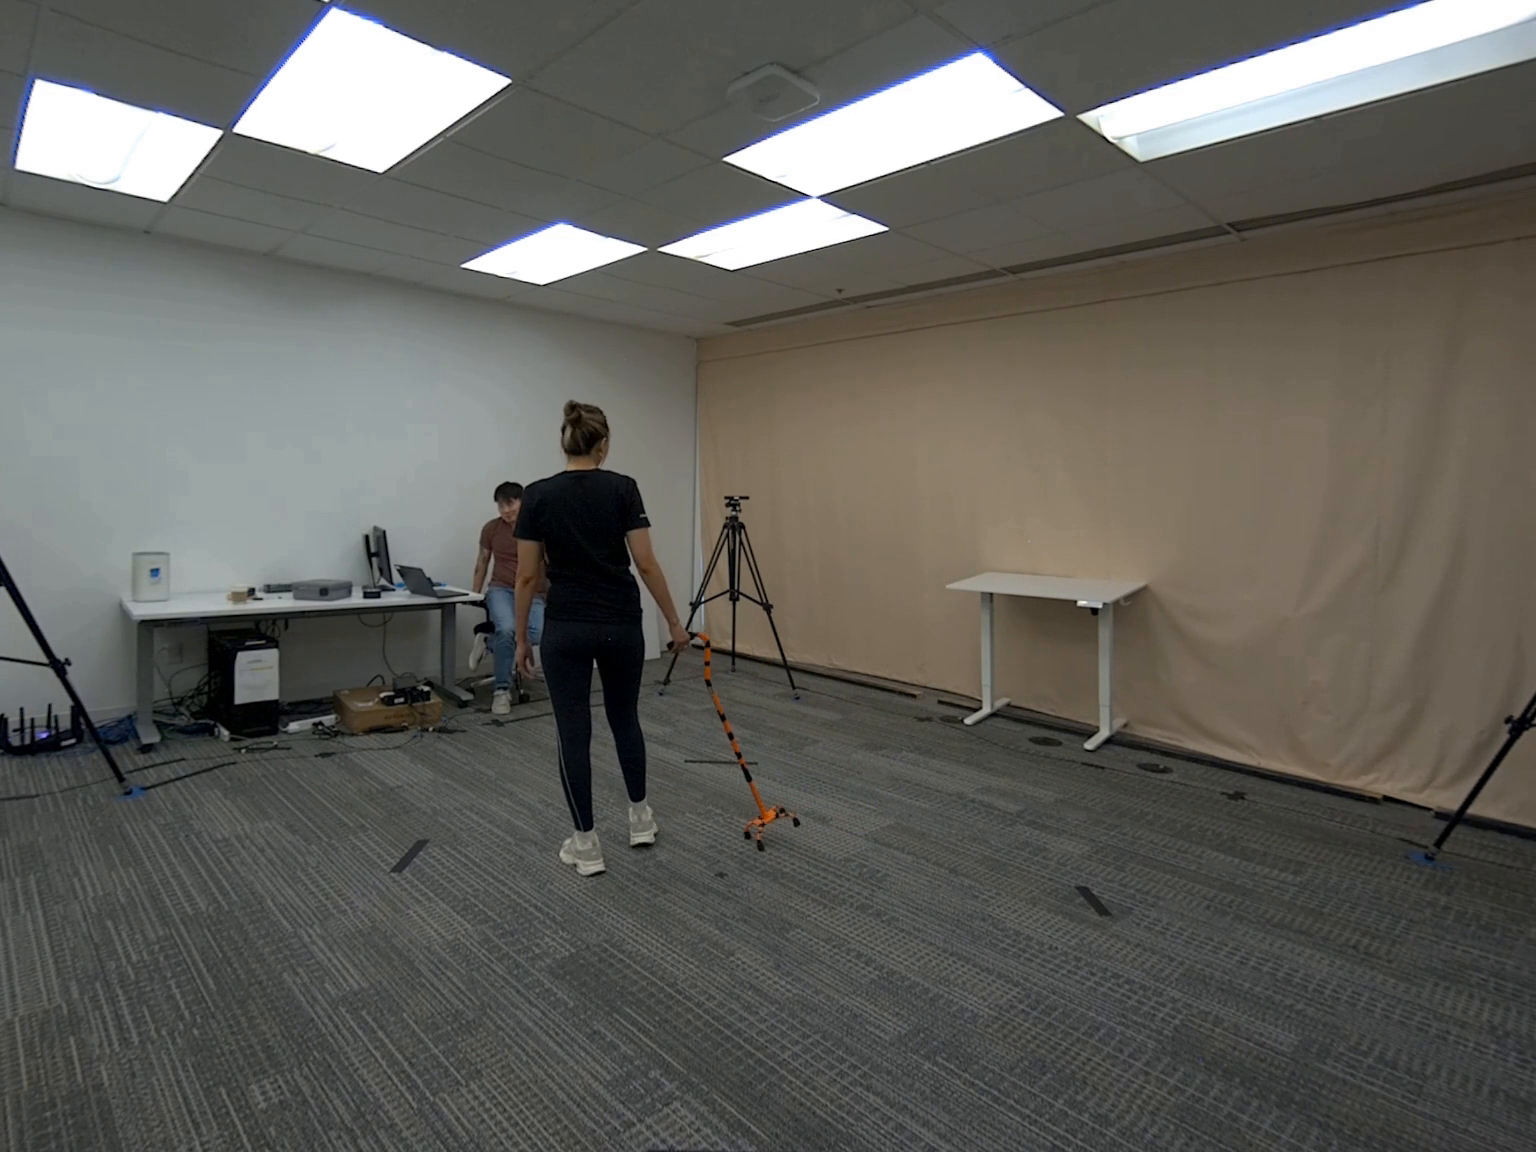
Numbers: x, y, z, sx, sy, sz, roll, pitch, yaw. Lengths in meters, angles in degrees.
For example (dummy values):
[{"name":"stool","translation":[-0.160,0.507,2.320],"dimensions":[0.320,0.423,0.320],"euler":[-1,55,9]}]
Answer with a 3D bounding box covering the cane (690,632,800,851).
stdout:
[{"name":"cane","translation":[-0.150,0.633,3.327],"dimensions":[0.205,0.897,0.154],"euler":[-26,13,-18]}]
